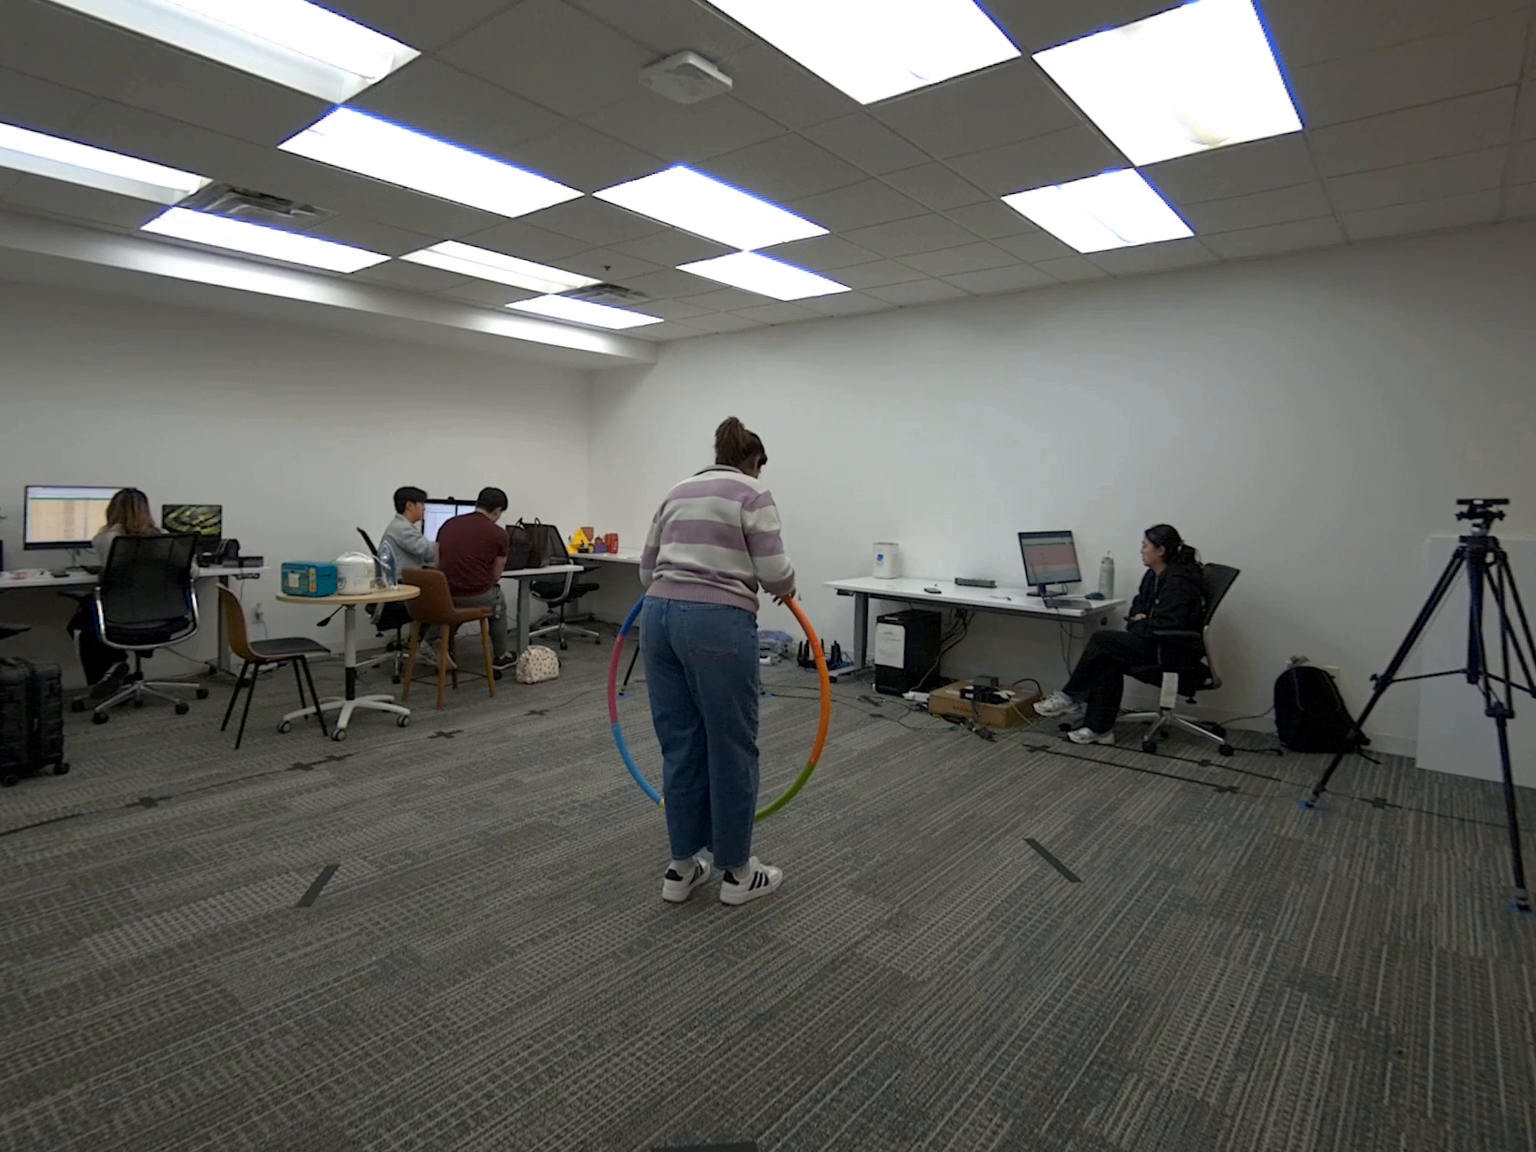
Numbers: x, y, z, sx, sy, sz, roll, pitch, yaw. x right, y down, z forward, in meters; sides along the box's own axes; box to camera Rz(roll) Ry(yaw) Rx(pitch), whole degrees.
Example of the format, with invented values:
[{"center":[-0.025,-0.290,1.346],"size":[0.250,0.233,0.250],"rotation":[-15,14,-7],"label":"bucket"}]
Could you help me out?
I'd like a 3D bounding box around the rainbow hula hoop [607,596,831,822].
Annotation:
[{"center":[-0.232,0.440,3.227],"size":[1.015,0.988,0.050],"rotation":[3,-3,31],"label":"rainbow hula hoop"}]
